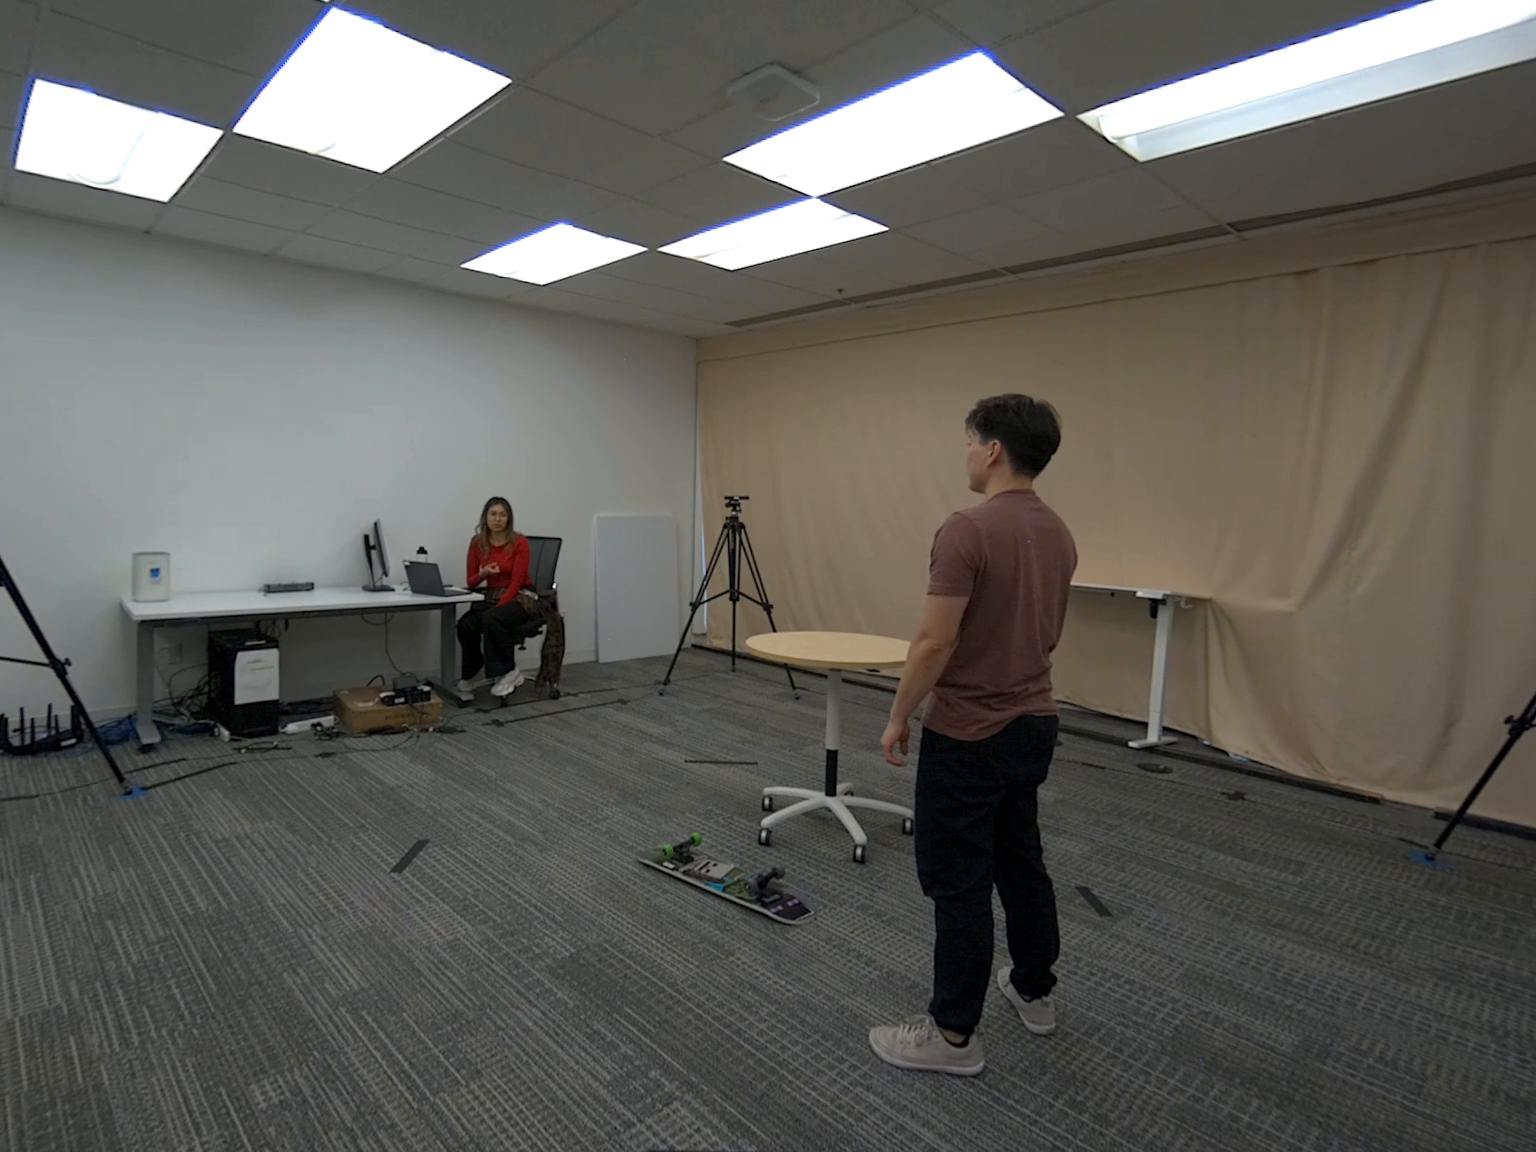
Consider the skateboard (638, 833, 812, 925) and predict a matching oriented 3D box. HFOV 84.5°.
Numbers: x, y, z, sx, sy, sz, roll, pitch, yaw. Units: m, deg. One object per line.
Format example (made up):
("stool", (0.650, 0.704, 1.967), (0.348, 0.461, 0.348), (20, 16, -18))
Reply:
("skateboard", (-0.177, 1.057, 3.025), (0.805, 0.110, 0.189), (6, 5, 40))
